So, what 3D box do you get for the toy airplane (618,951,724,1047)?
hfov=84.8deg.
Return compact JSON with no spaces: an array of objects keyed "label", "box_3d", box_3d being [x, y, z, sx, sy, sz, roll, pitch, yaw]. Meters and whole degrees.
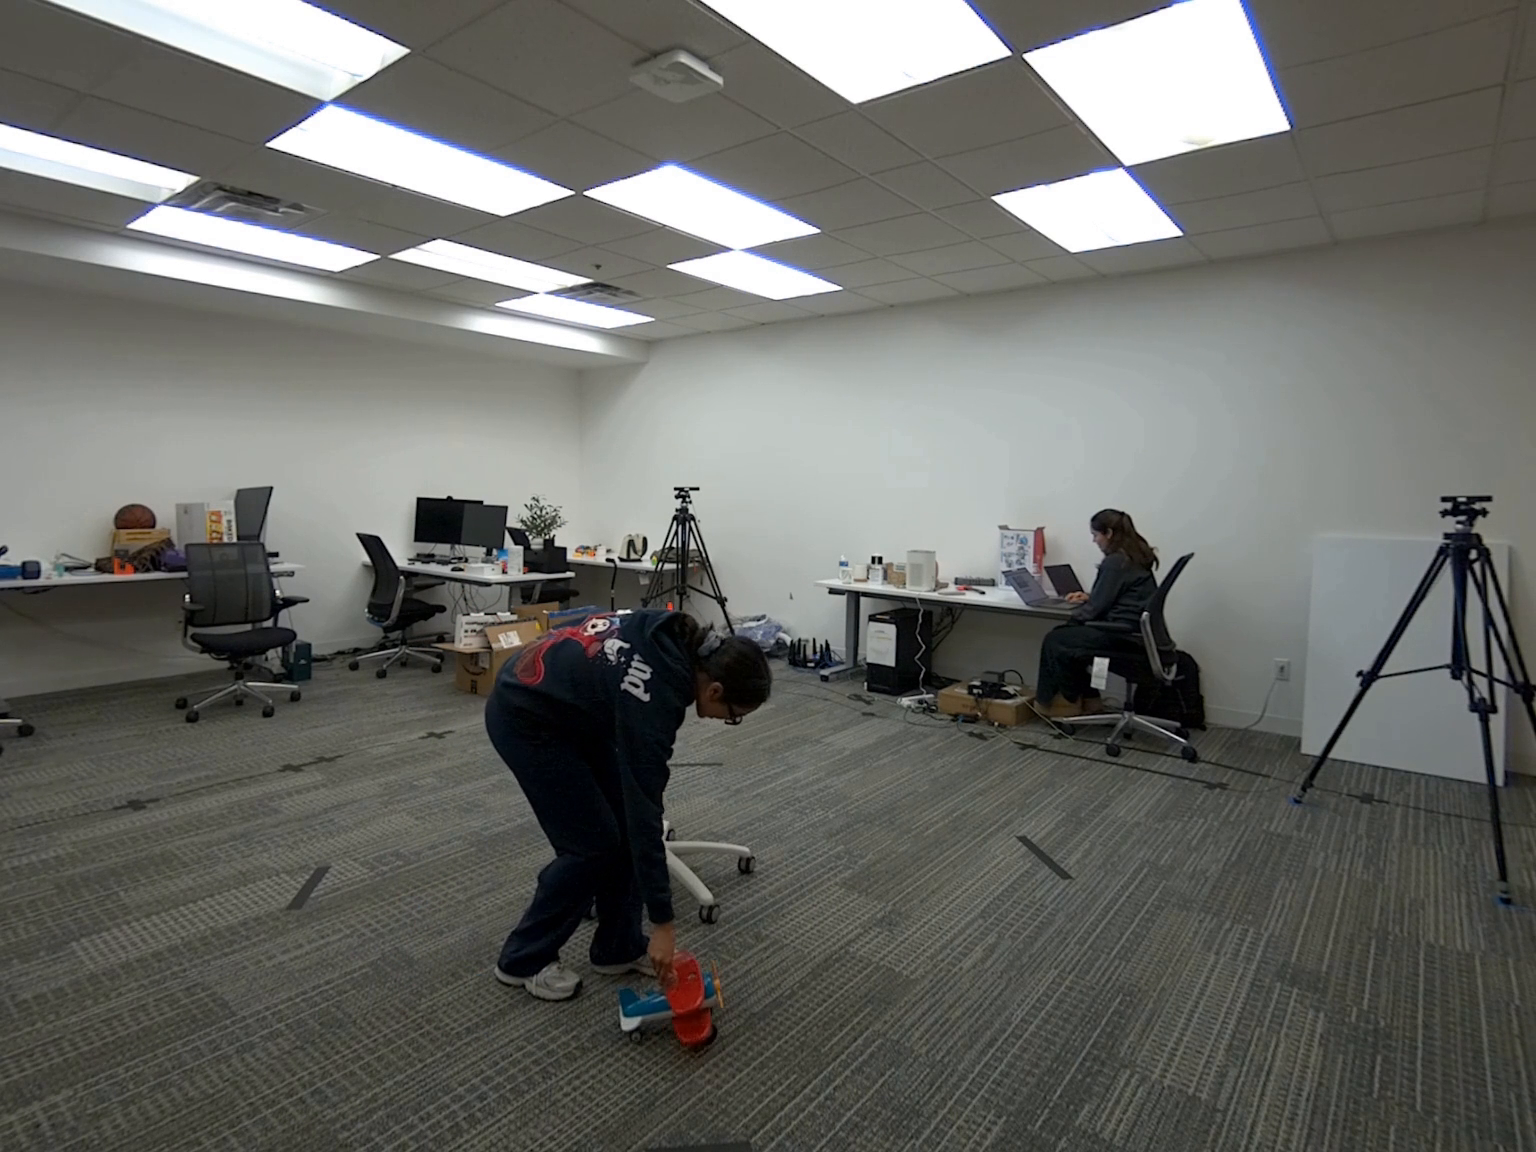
[{"label":"toy airplane","box_3d":[-0.245,1.091,2.141,0.251,0.156,0.260,-2,6,-38]}]
